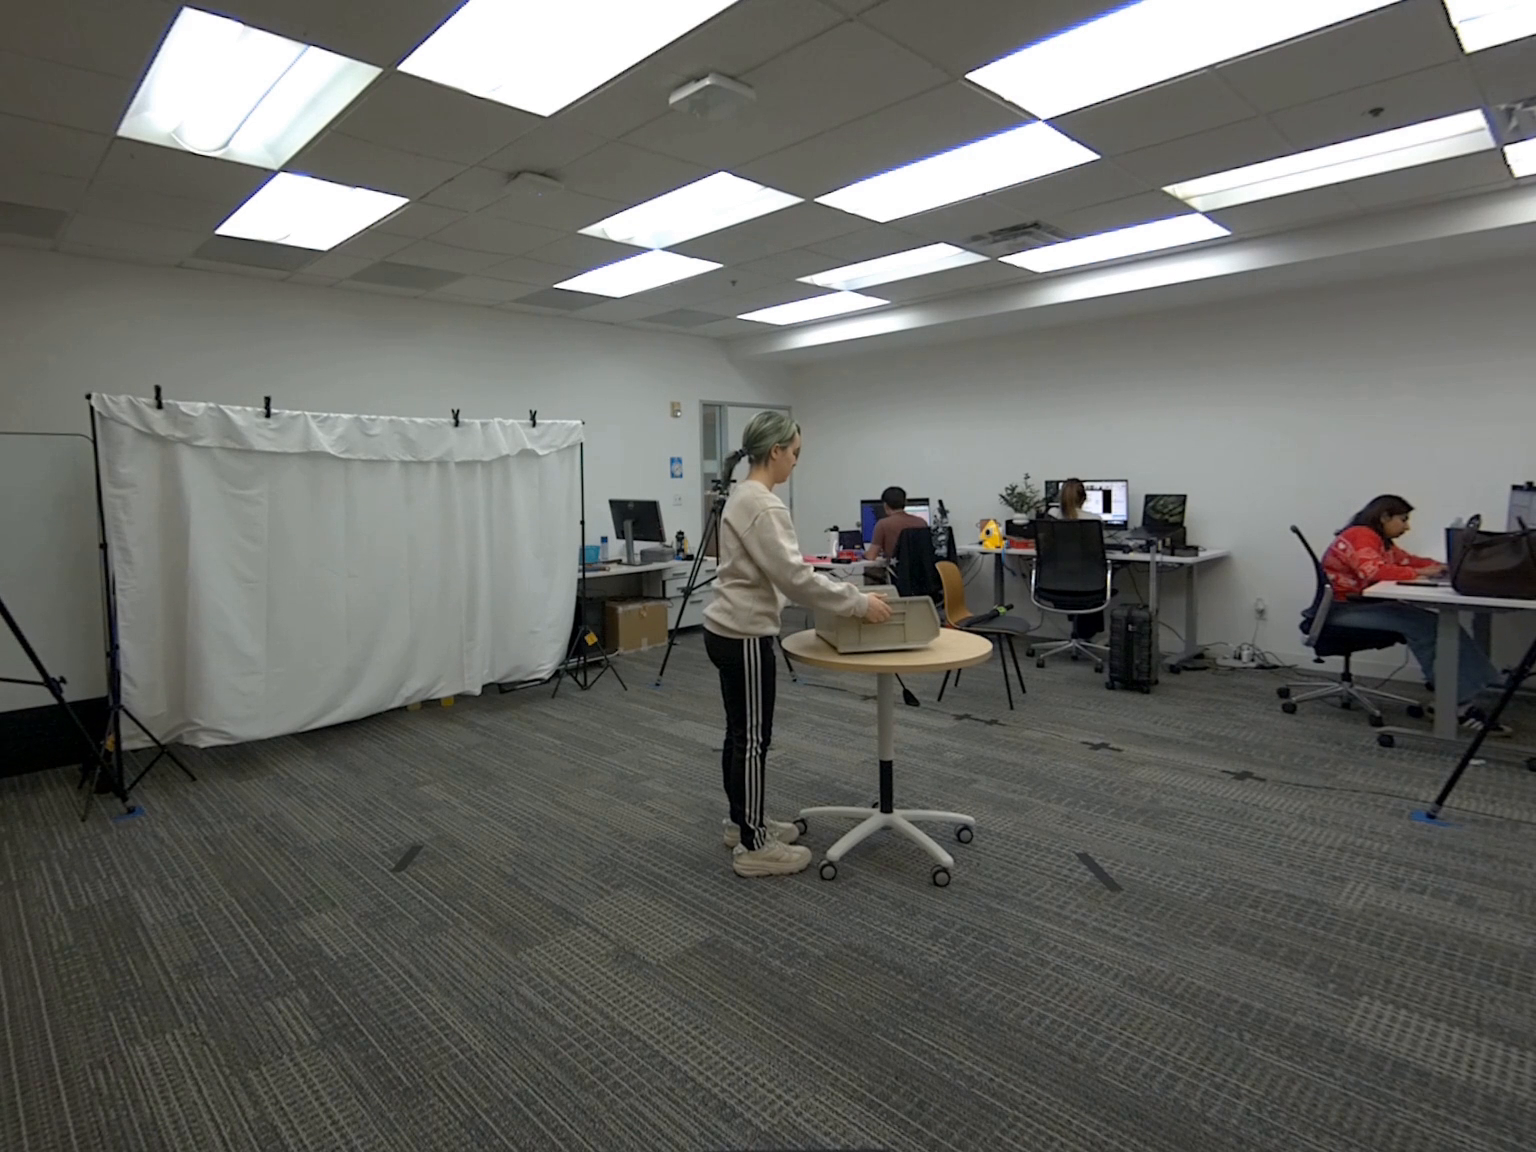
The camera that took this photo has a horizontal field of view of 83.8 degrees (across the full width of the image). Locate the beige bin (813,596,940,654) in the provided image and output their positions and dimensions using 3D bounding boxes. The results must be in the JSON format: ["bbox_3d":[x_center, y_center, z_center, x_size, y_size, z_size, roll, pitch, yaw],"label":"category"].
[{"bbox_3d":[0.385,0.149,3.170,0.375,0.188,0.427,-3,5,-8],"label":"beige bin"}]
